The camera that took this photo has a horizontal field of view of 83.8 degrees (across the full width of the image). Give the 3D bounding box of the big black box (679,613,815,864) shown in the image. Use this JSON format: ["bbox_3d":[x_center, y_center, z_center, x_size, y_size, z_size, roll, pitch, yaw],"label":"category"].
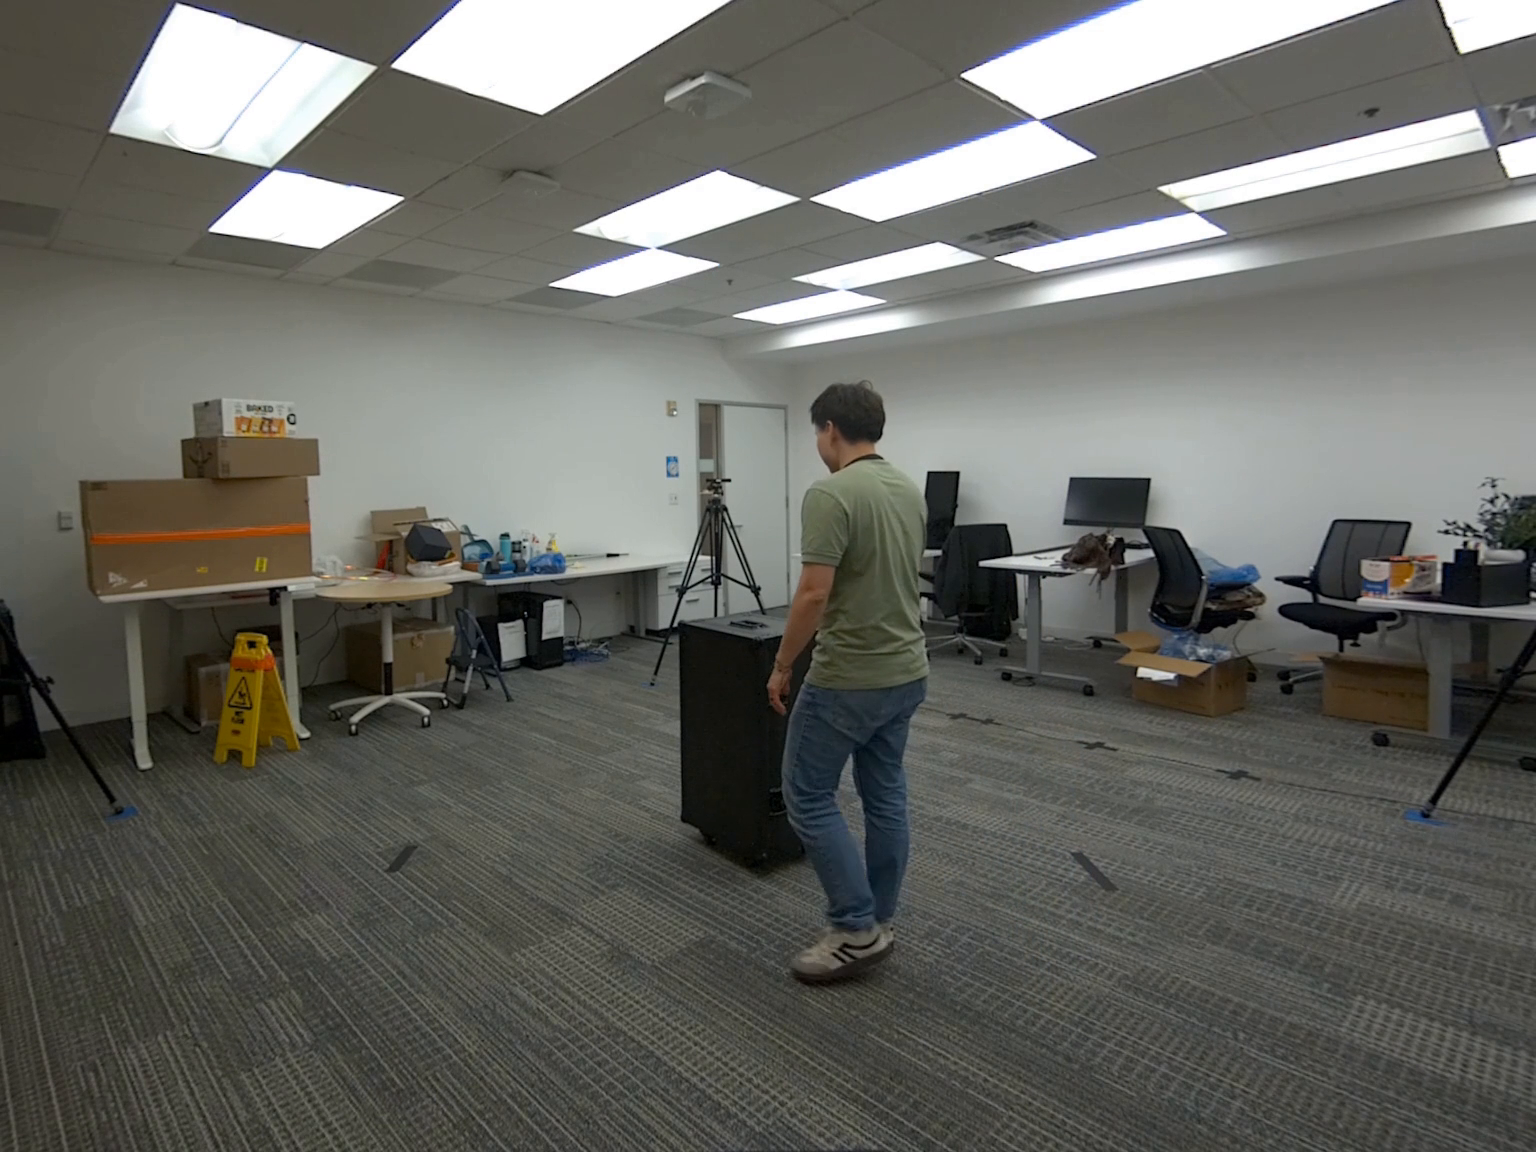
[{"bbox_3d":[-0.044,0.606,3.234,0.385,0.859,0.537,-3,5,-40],"label":"big black box"}]
